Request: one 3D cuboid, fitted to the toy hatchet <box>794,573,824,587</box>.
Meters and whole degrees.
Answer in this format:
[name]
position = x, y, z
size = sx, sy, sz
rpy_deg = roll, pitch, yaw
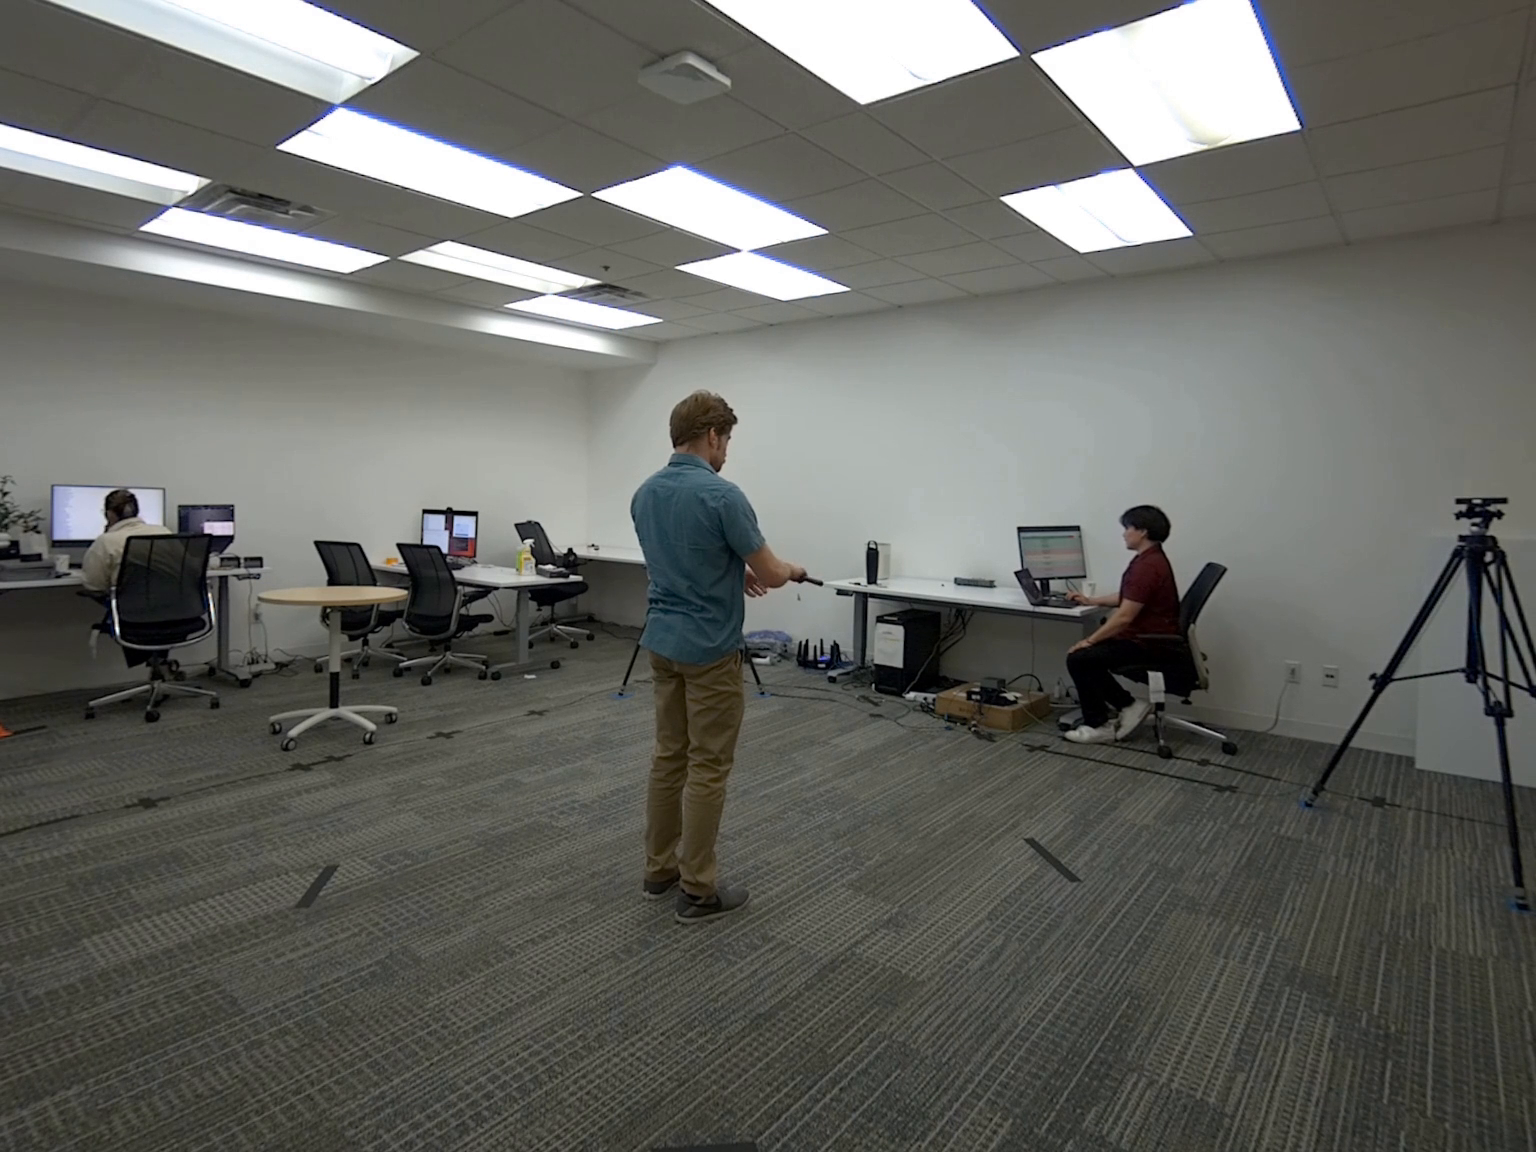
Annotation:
[toy hatchet]
position = 0.098, 0.004, 3.112
size = 0.280, 0.029, 0.126
rpy_deg = 16, -4, 34
